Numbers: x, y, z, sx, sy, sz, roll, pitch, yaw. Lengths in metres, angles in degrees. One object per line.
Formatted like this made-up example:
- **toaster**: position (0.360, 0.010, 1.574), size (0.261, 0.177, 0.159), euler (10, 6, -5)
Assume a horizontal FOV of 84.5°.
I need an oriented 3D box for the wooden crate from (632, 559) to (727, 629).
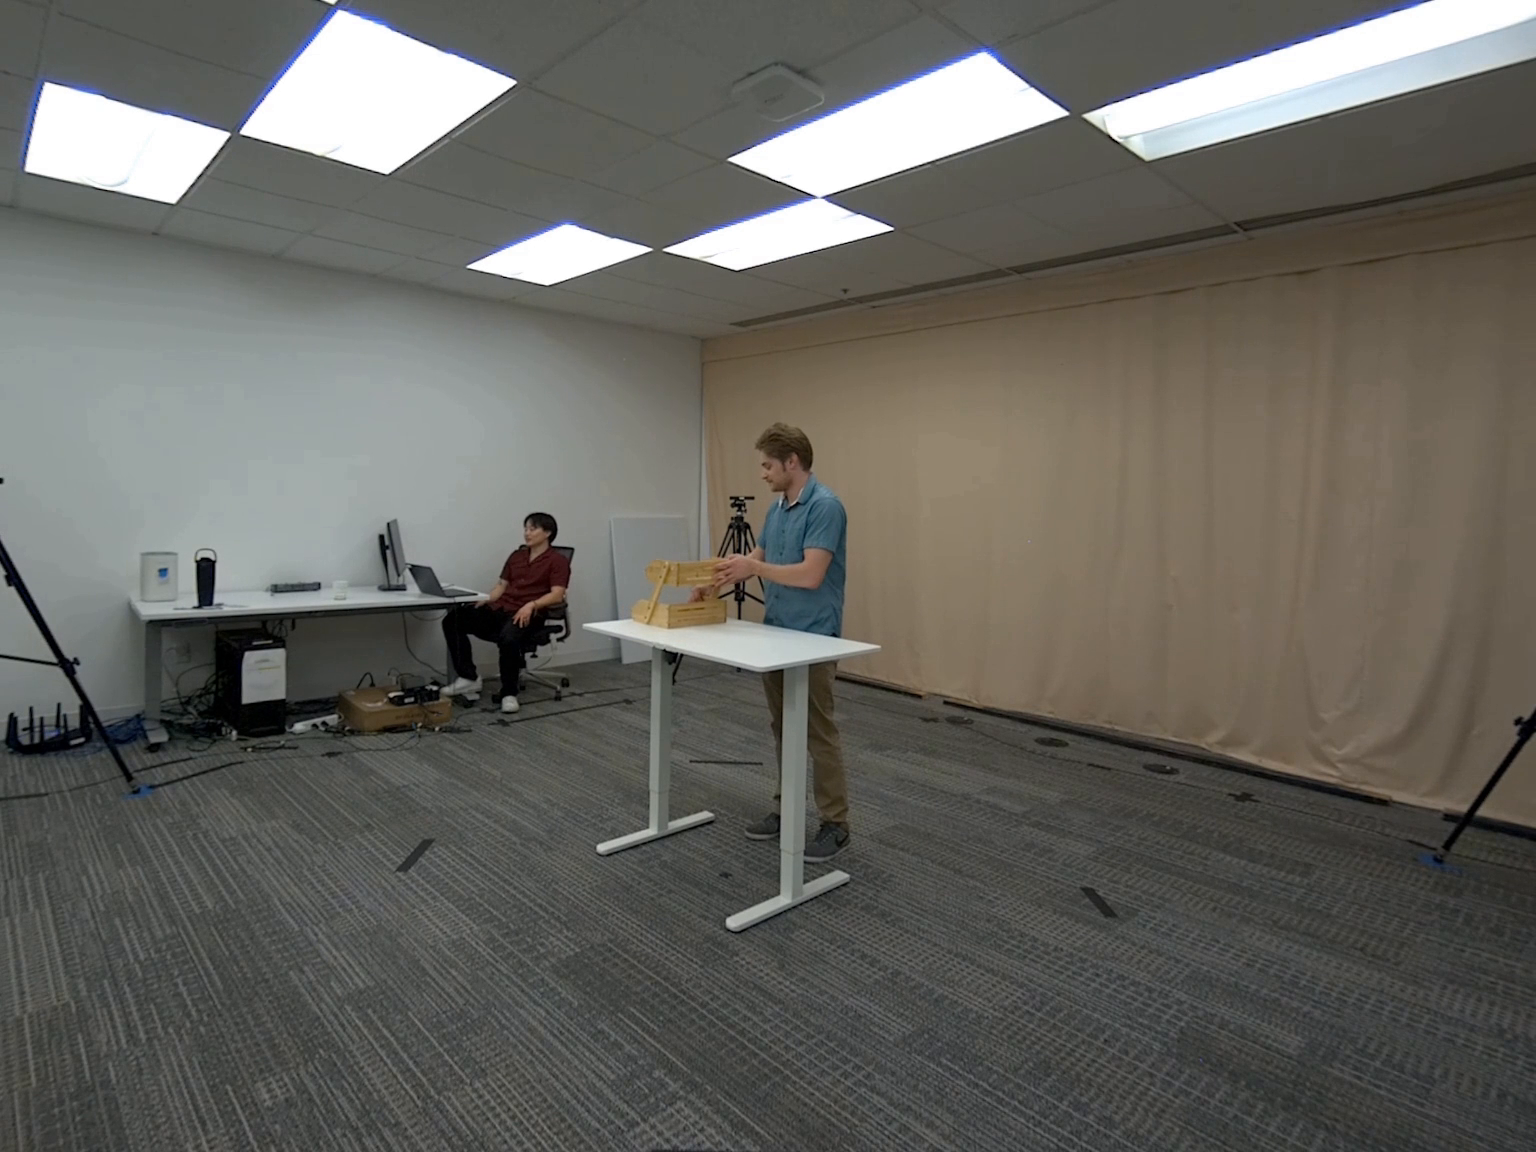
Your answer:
- **wooden crate**: position (-0.348, 0.054, 3.394), size (0.317, 0.272, 0.310), euler (-3, 7, -43)
